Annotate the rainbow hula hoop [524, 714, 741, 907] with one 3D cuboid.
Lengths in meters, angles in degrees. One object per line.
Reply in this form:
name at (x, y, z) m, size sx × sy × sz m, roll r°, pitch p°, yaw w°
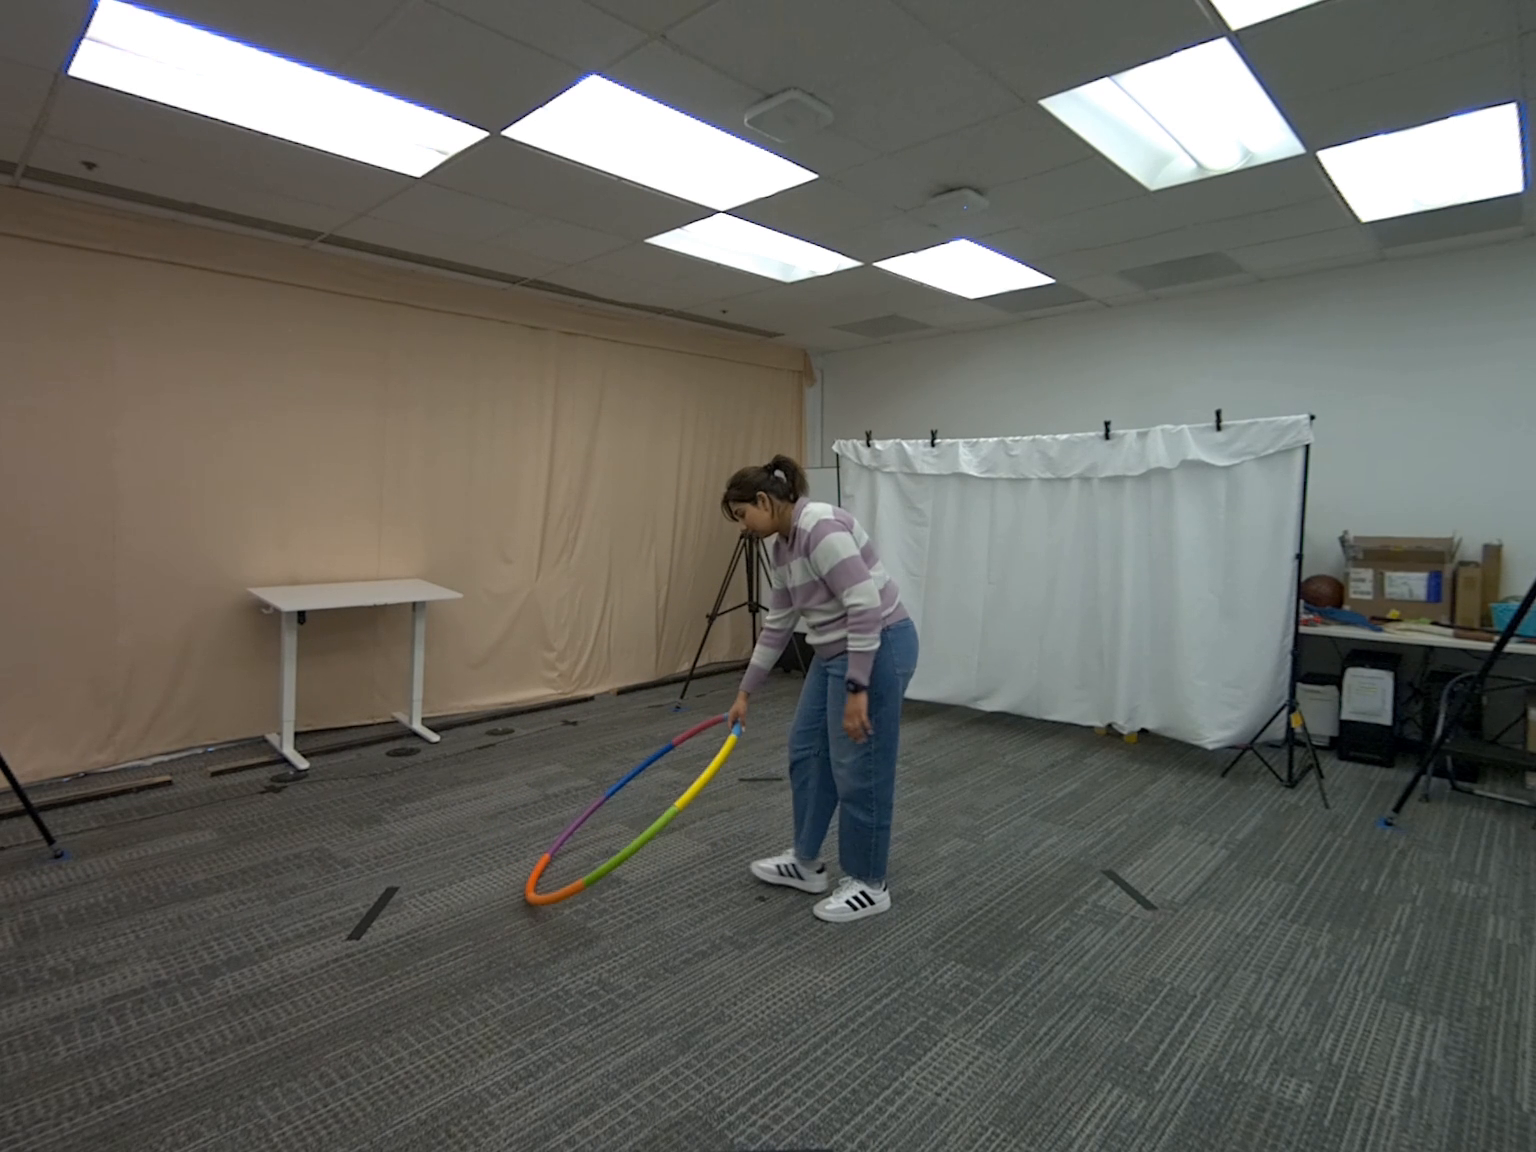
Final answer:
rainbow hula hoop at (-0.496, 0.831, 3.117) m, size 0.979 × 0.035 × 0.982 m, roll -37°, pitch 6°, yaw 0°
